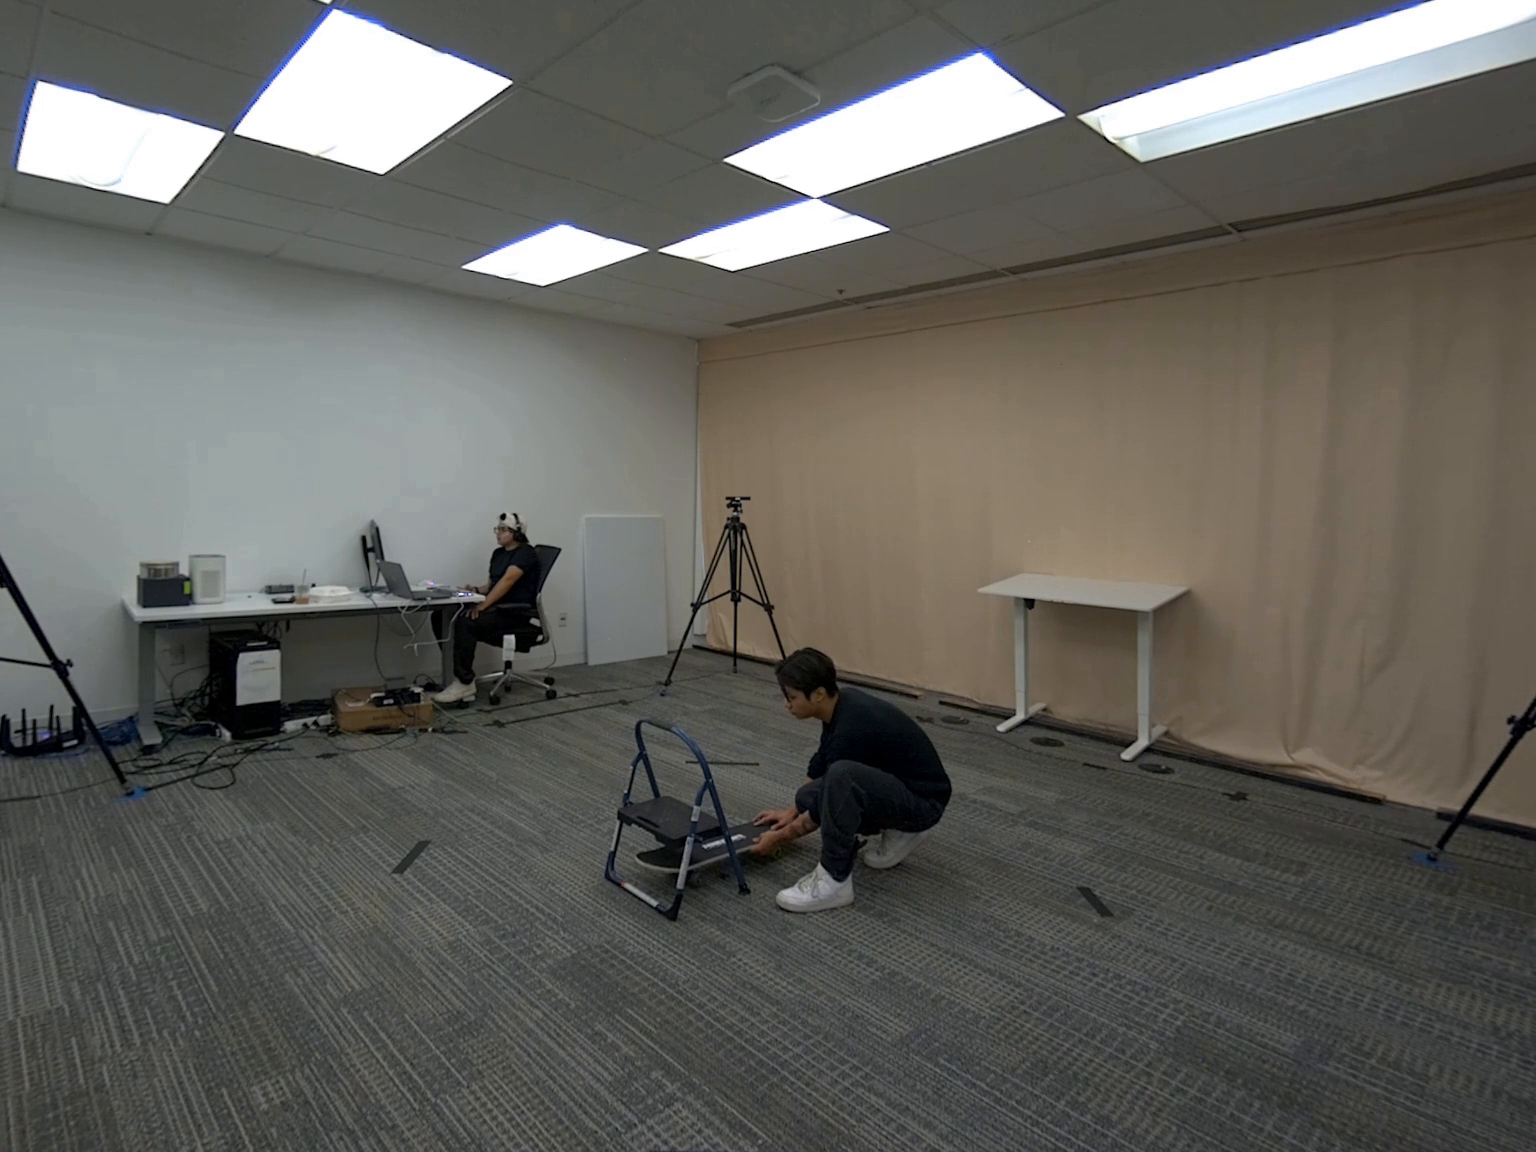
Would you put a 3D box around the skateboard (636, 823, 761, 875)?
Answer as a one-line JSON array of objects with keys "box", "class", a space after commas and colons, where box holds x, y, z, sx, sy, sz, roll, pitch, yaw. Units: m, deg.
[{"box": [-0.173, 1.029, 3.170, 0.198, 0.110, 0.767, 6, 5, 44], "class": "skateboard"}]
